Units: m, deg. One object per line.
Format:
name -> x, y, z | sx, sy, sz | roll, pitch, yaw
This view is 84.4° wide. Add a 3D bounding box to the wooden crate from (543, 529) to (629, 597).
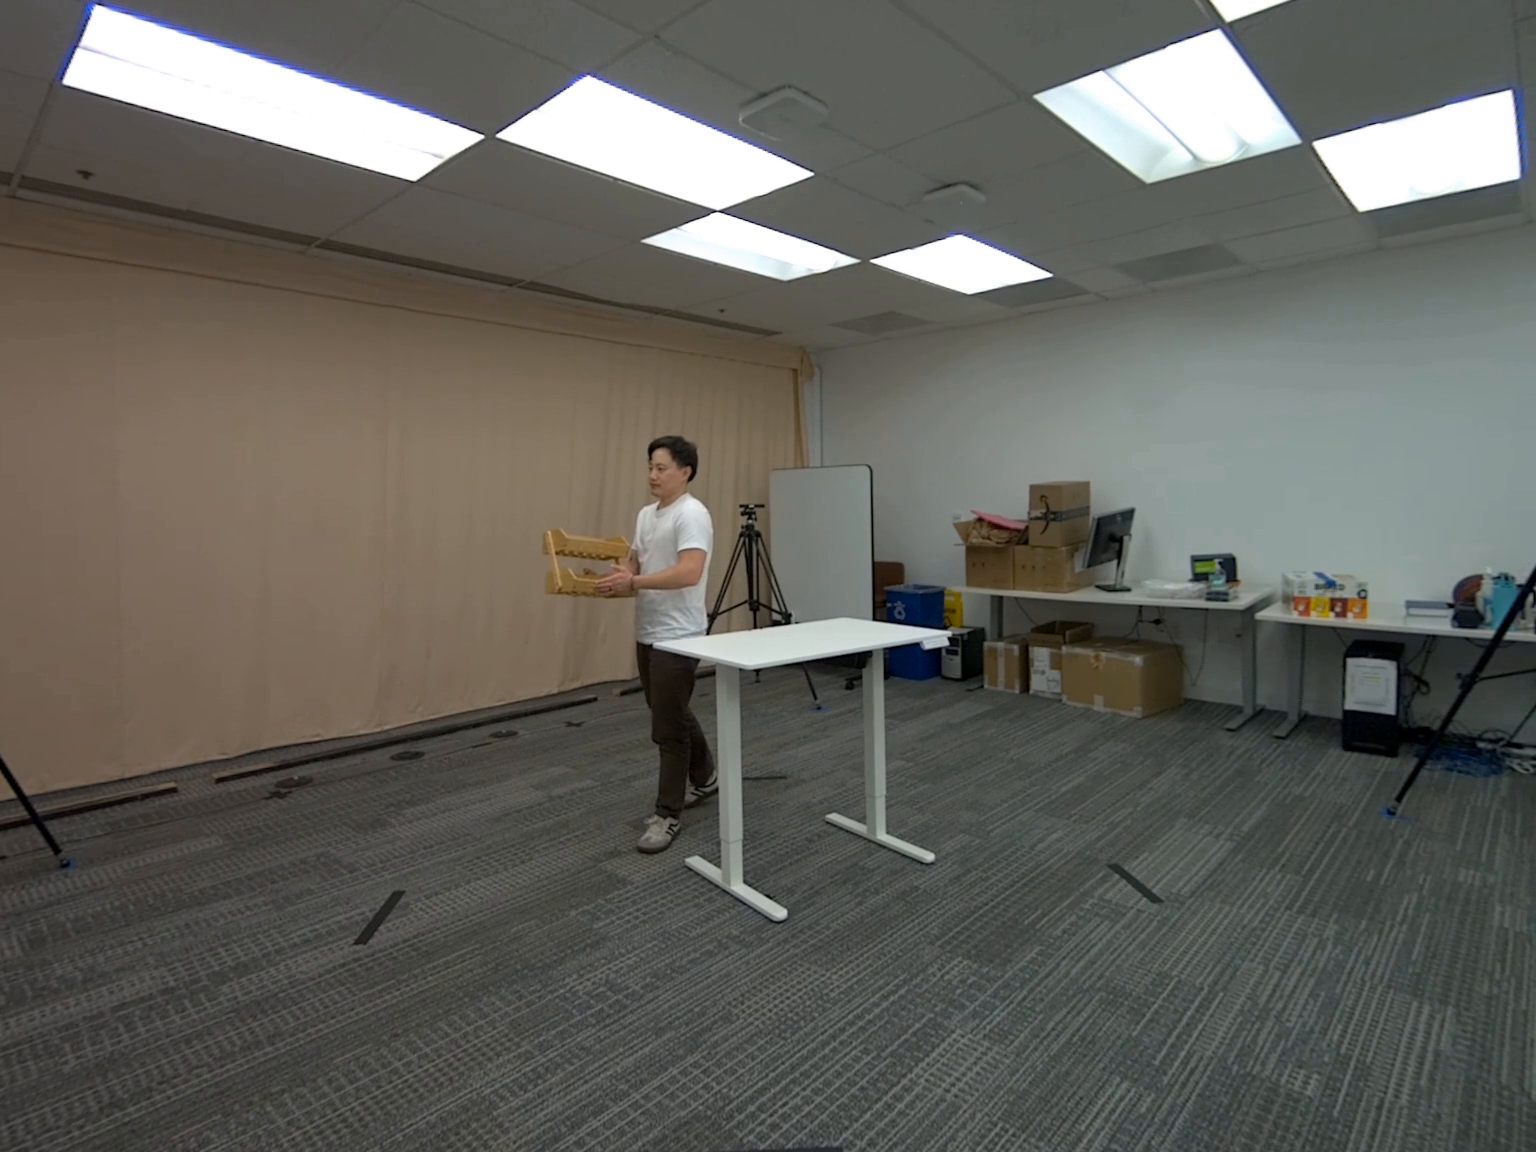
wooden crate -> -0.733, -0.052, 3.475 | 0.314, 0.274, 0.311 | 7, -9, -40
